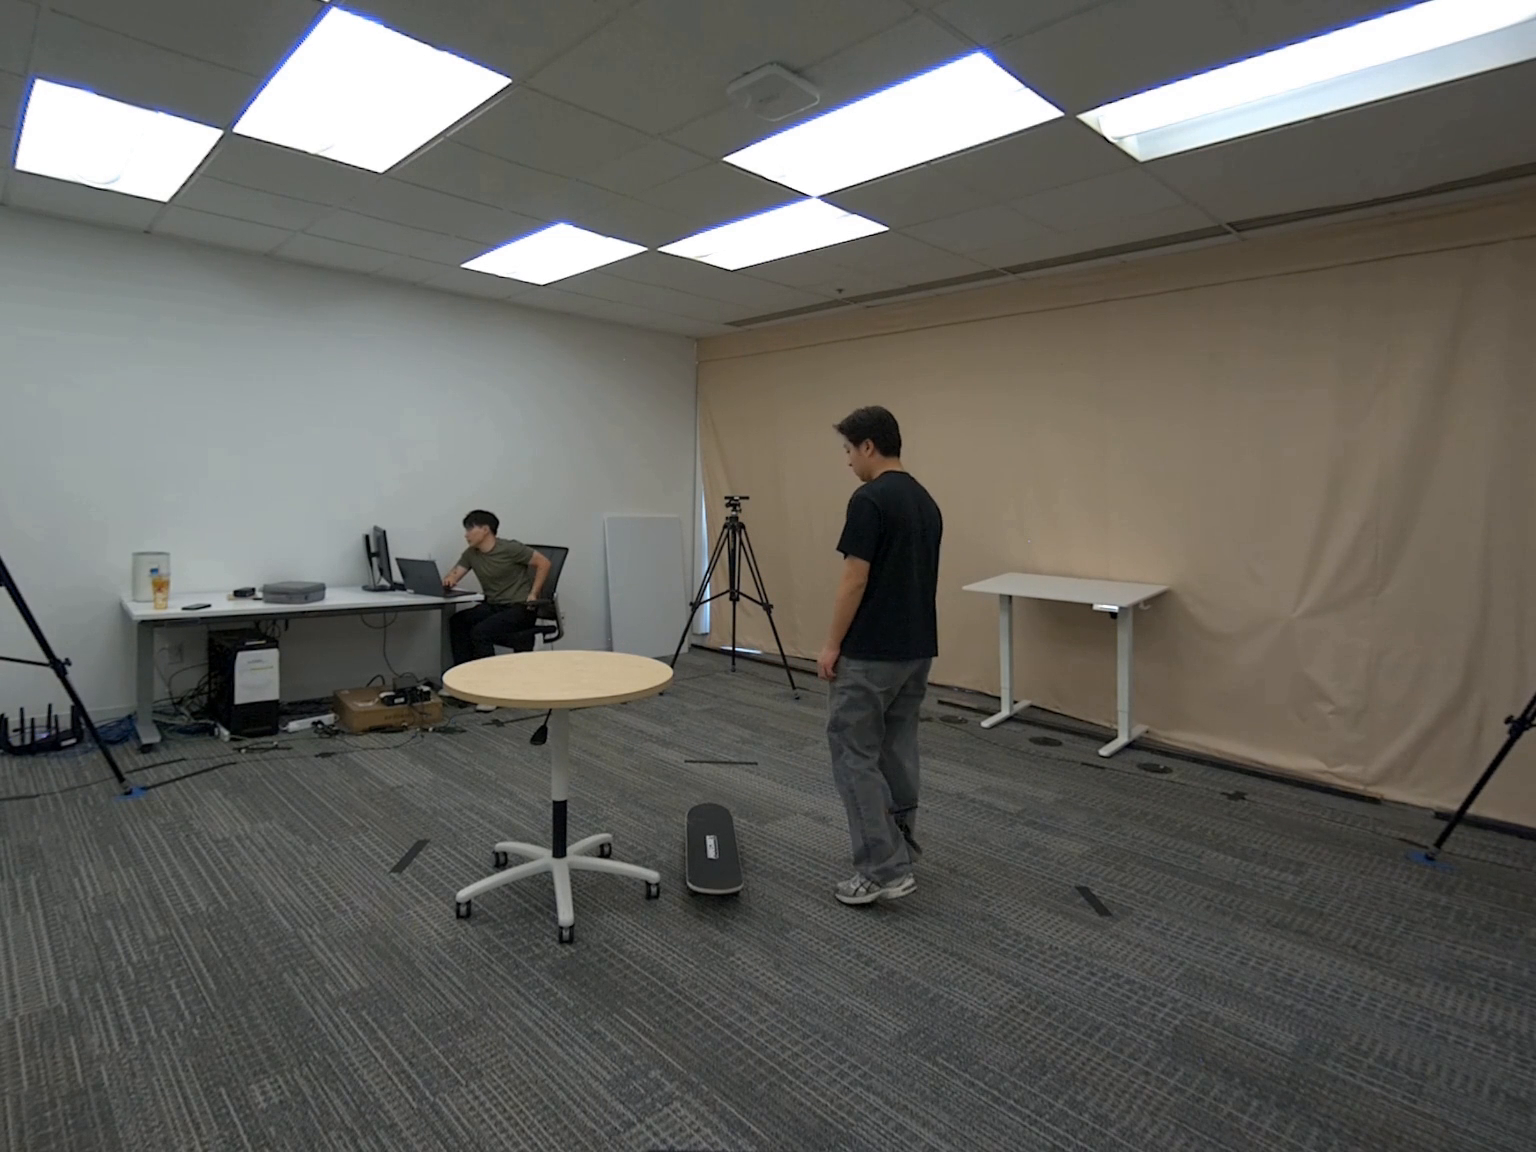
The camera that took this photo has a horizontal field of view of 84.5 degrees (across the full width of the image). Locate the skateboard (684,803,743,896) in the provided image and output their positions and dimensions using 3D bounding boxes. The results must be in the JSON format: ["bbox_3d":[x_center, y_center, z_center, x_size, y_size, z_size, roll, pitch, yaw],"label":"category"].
[{"bbox_3d":[-0.214,1.040,3.147,0.192,0.110,0.791,-1,6,-7],"label":"skateboard"}]
